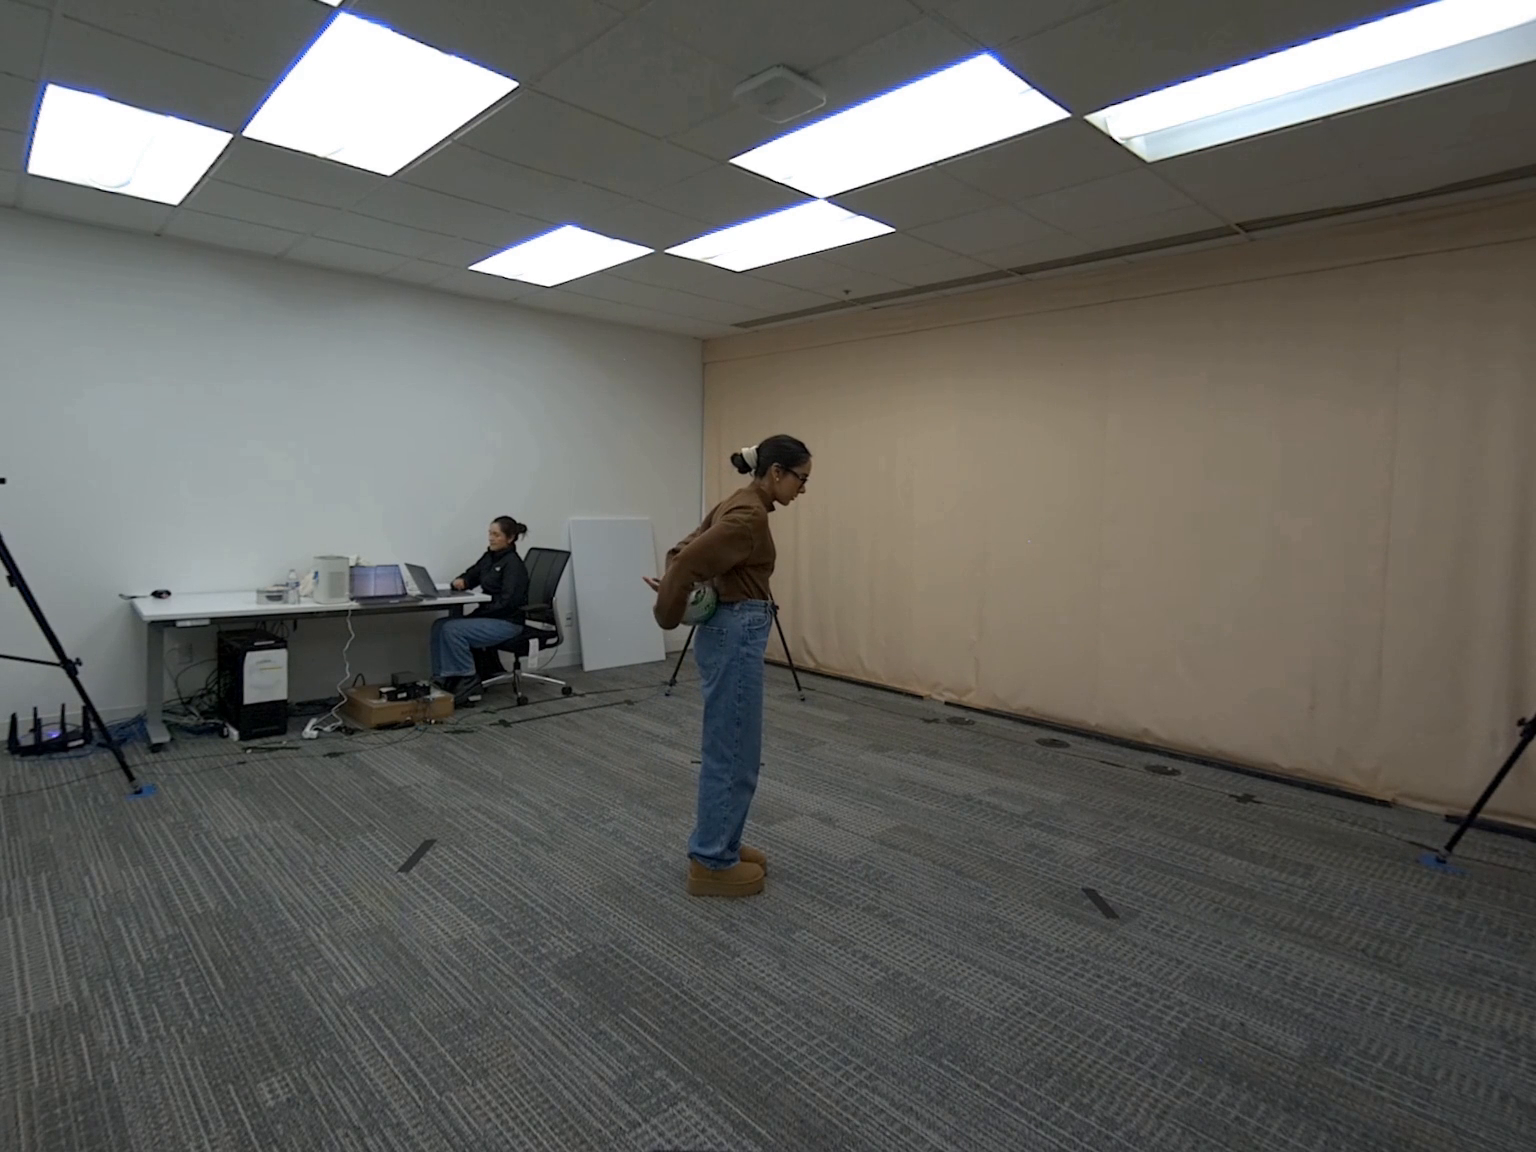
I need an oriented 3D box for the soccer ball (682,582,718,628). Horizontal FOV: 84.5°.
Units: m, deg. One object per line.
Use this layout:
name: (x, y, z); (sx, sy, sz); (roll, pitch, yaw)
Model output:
soccer ball: (-0.275, 0.078, 2.931); (0.187, 0.187, 0.188); (1, 4, -1)
